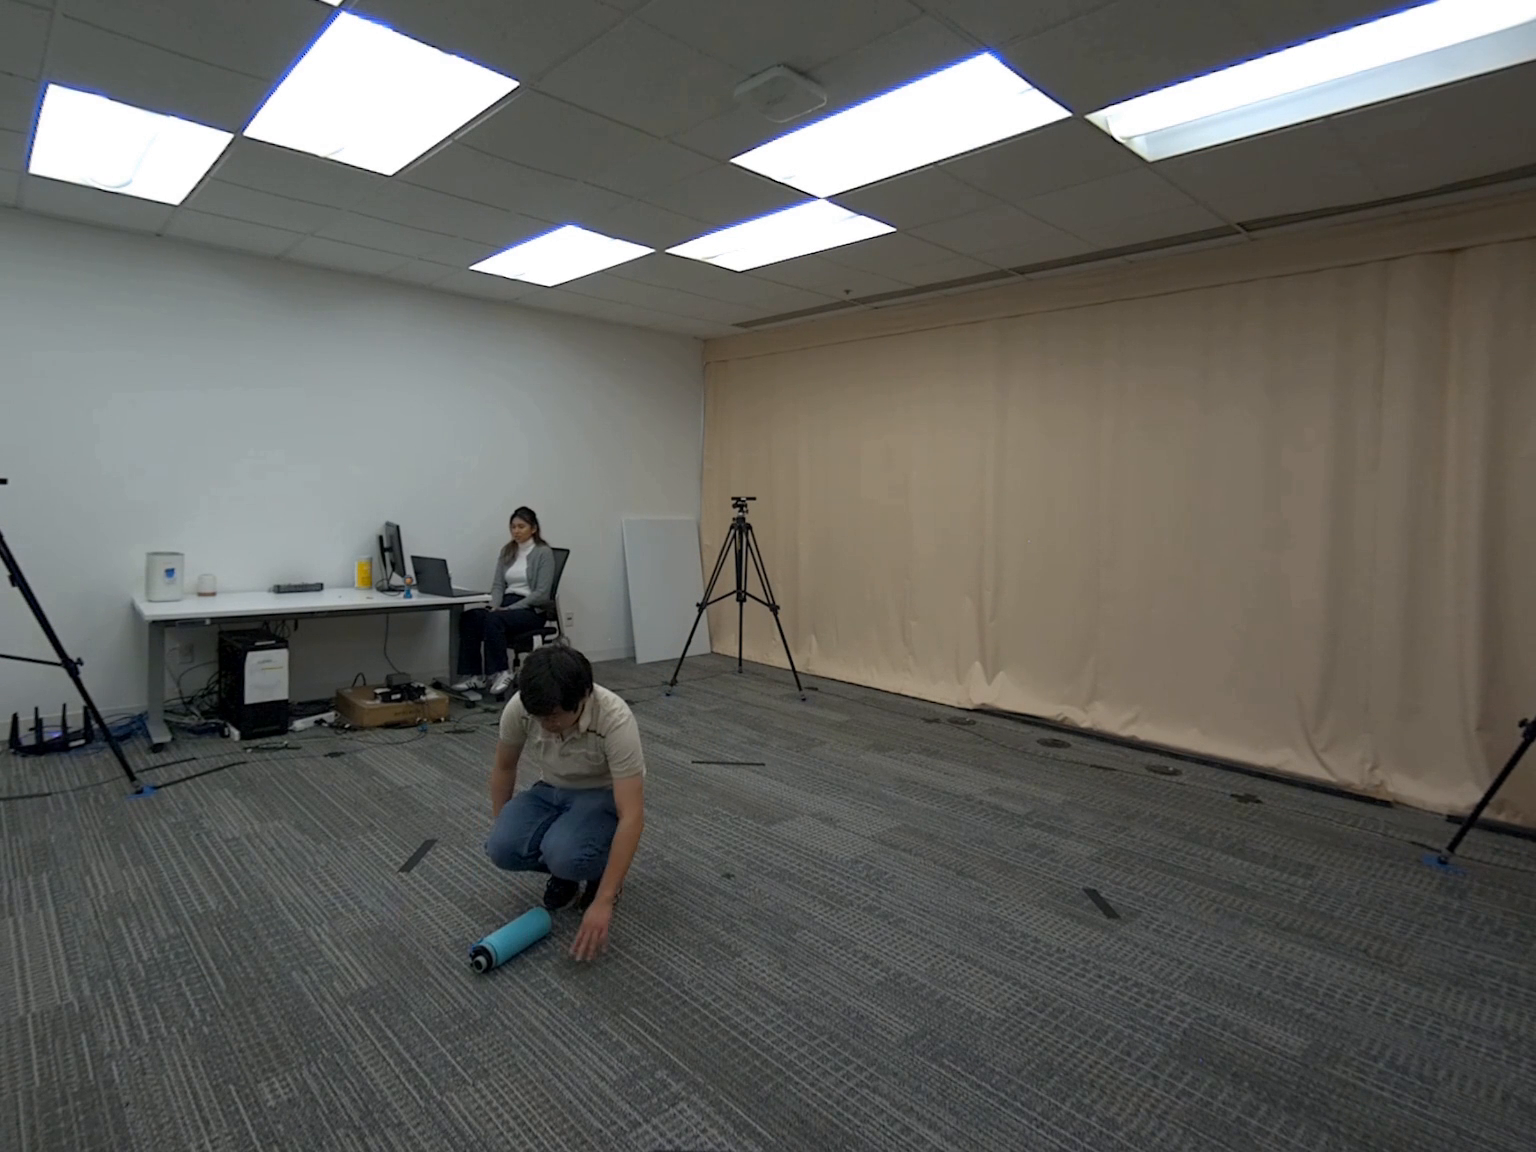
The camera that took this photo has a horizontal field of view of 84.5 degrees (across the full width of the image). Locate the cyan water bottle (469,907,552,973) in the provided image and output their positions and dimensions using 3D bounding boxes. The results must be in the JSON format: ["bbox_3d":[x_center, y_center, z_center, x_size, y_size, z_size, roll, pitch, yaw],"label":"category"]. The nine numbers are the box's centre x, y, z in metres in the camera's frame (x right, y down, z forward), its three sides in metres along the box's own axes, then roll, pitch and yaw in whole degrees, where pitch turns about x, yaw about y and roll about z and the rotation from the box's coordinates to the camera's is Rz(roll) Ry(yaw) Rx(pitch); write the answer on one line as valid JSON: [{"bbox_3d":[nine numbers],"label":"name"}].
[{"bbox_3d":[-0.783,1.099,2.530,0.094,0.092,0.278,4,6,28],"label":"cyan water bottle"}]
